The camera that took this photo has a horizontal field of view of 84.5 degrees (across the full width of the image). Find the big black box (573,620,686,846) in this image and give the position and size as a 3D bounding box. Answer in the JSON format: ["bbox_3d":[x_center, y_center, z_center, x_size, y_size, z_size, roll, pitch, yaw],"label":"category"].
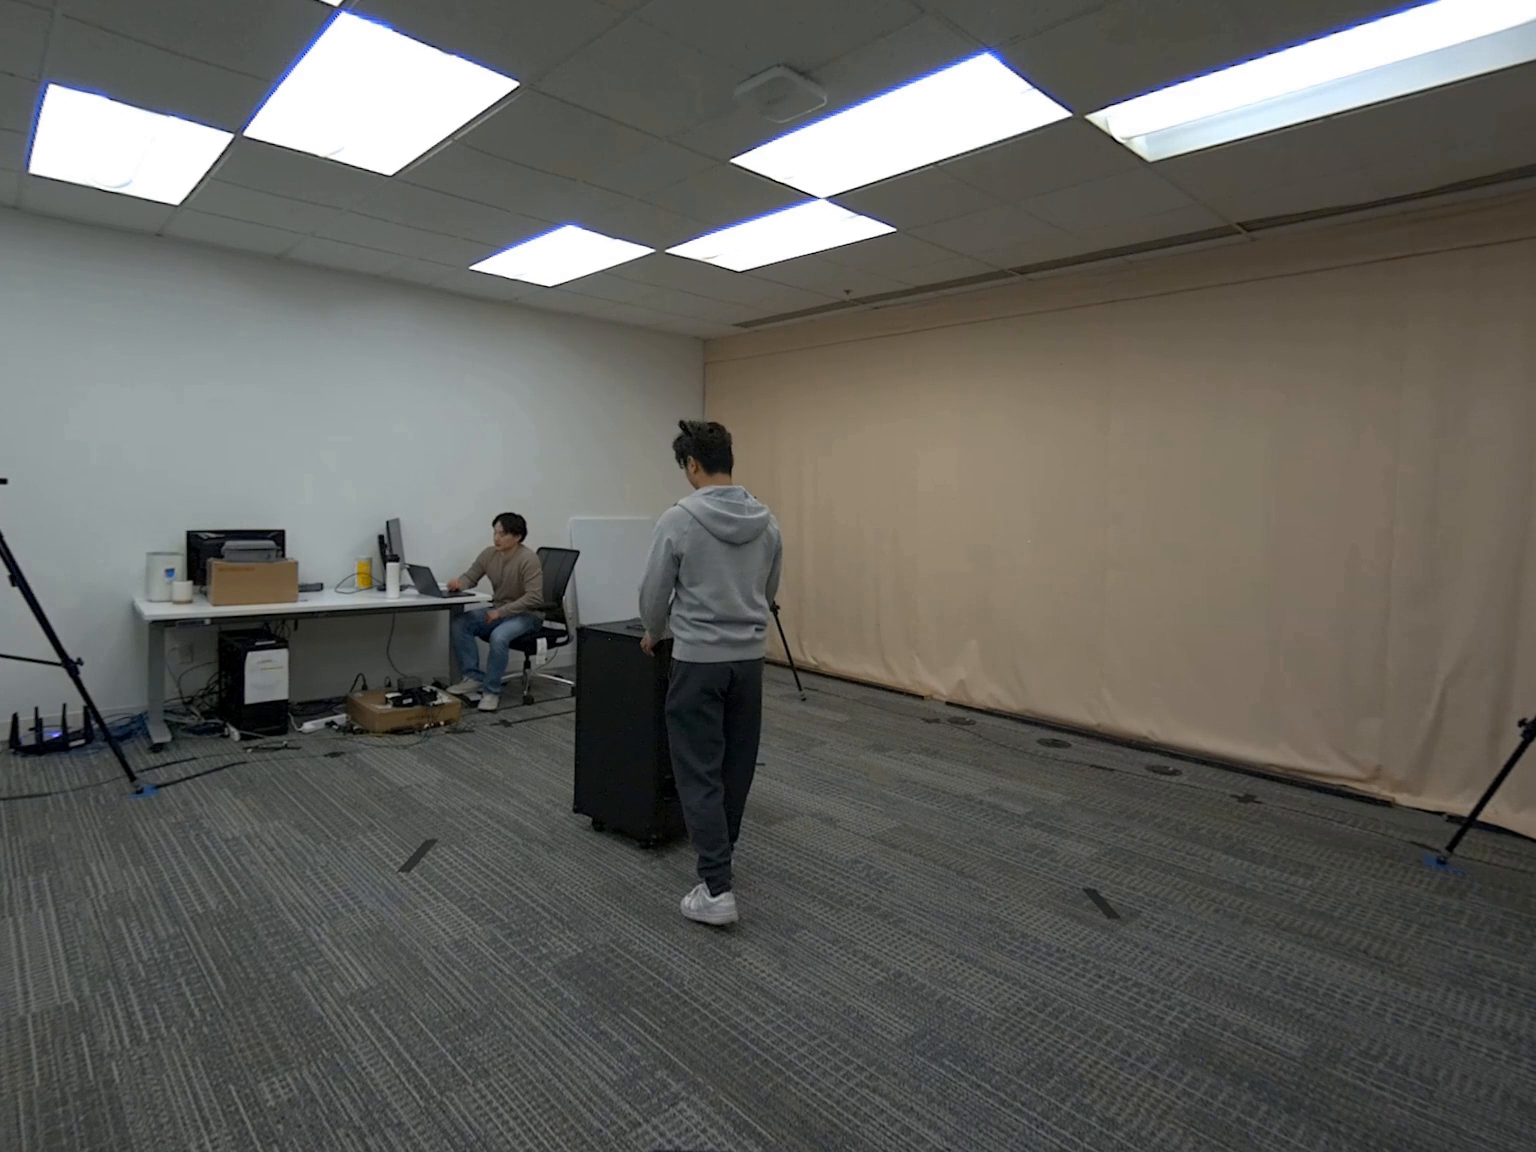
[{"bbox_3d":[-0.515,0.641,3.496,0.534,0.860,0.387,5,4,38],"label":"big black box"}]
